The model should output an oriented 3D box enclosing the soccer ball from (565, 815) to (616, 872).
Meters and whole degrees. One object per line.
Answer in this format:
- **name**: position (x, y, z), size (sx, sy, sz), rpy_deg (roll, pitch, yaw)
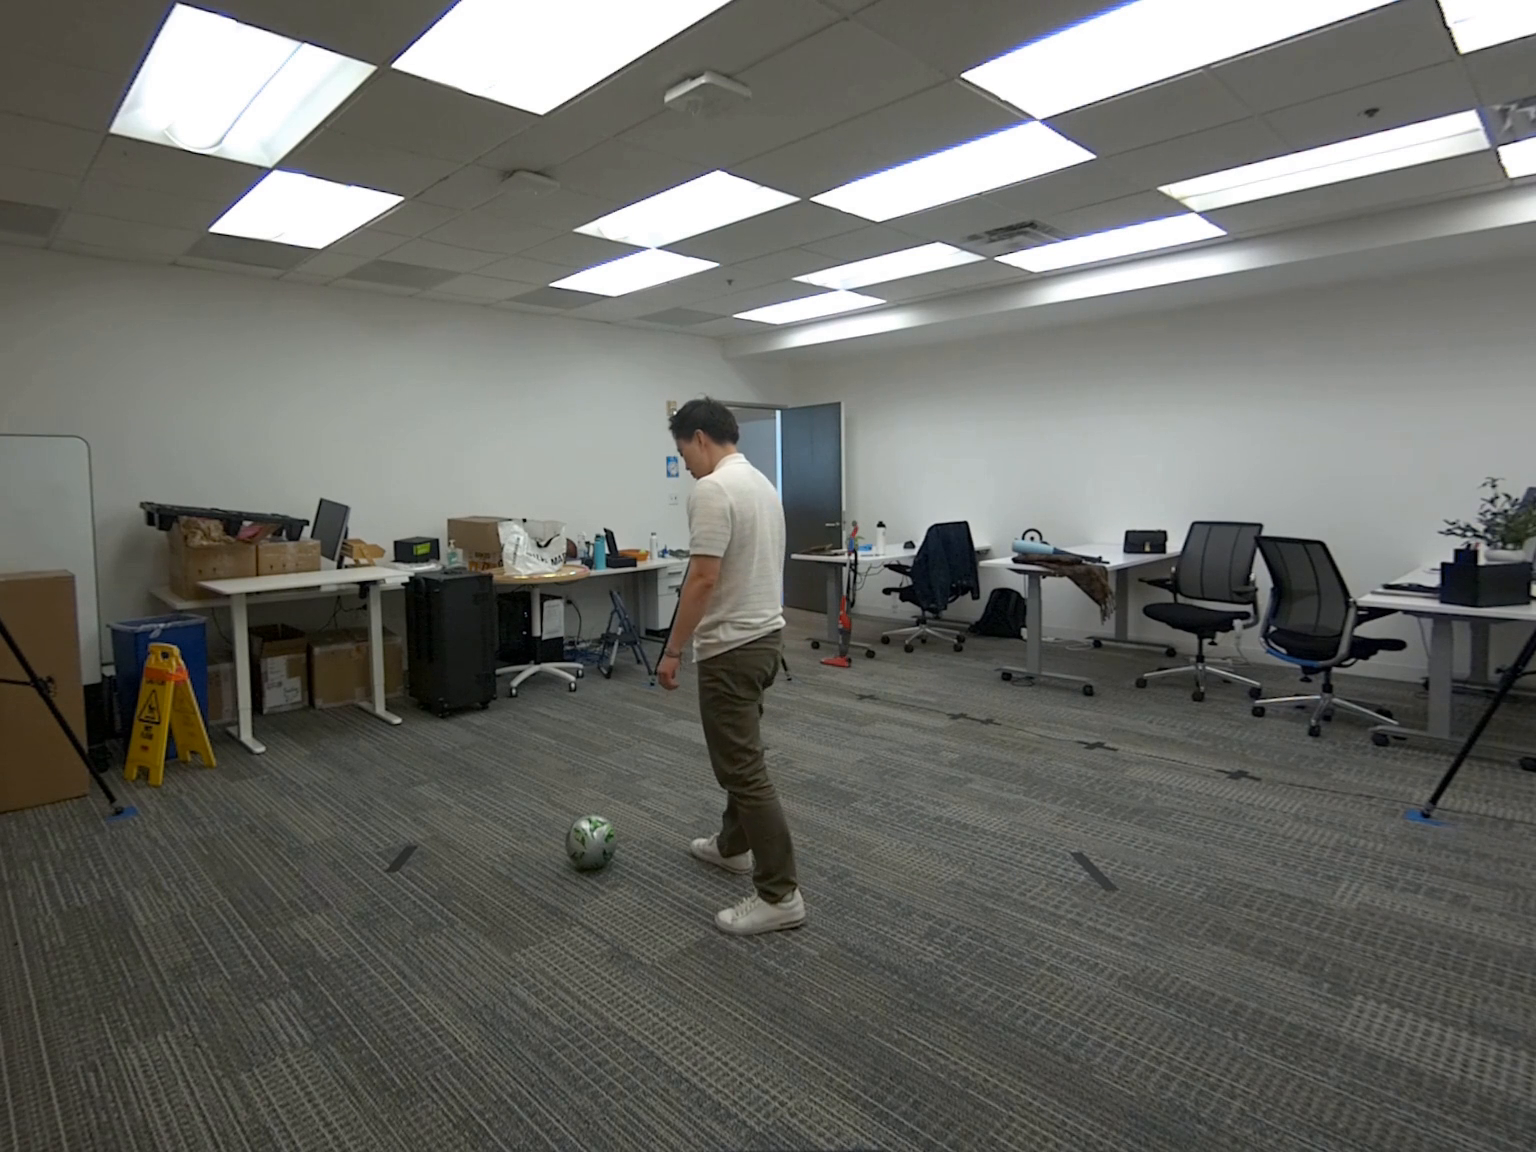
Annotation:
- **soccer ball**: position (-0.638, 0.961, 3.099), size (0.187, 0.187, 0.188), rpy_deg (-1, 5, -2)
